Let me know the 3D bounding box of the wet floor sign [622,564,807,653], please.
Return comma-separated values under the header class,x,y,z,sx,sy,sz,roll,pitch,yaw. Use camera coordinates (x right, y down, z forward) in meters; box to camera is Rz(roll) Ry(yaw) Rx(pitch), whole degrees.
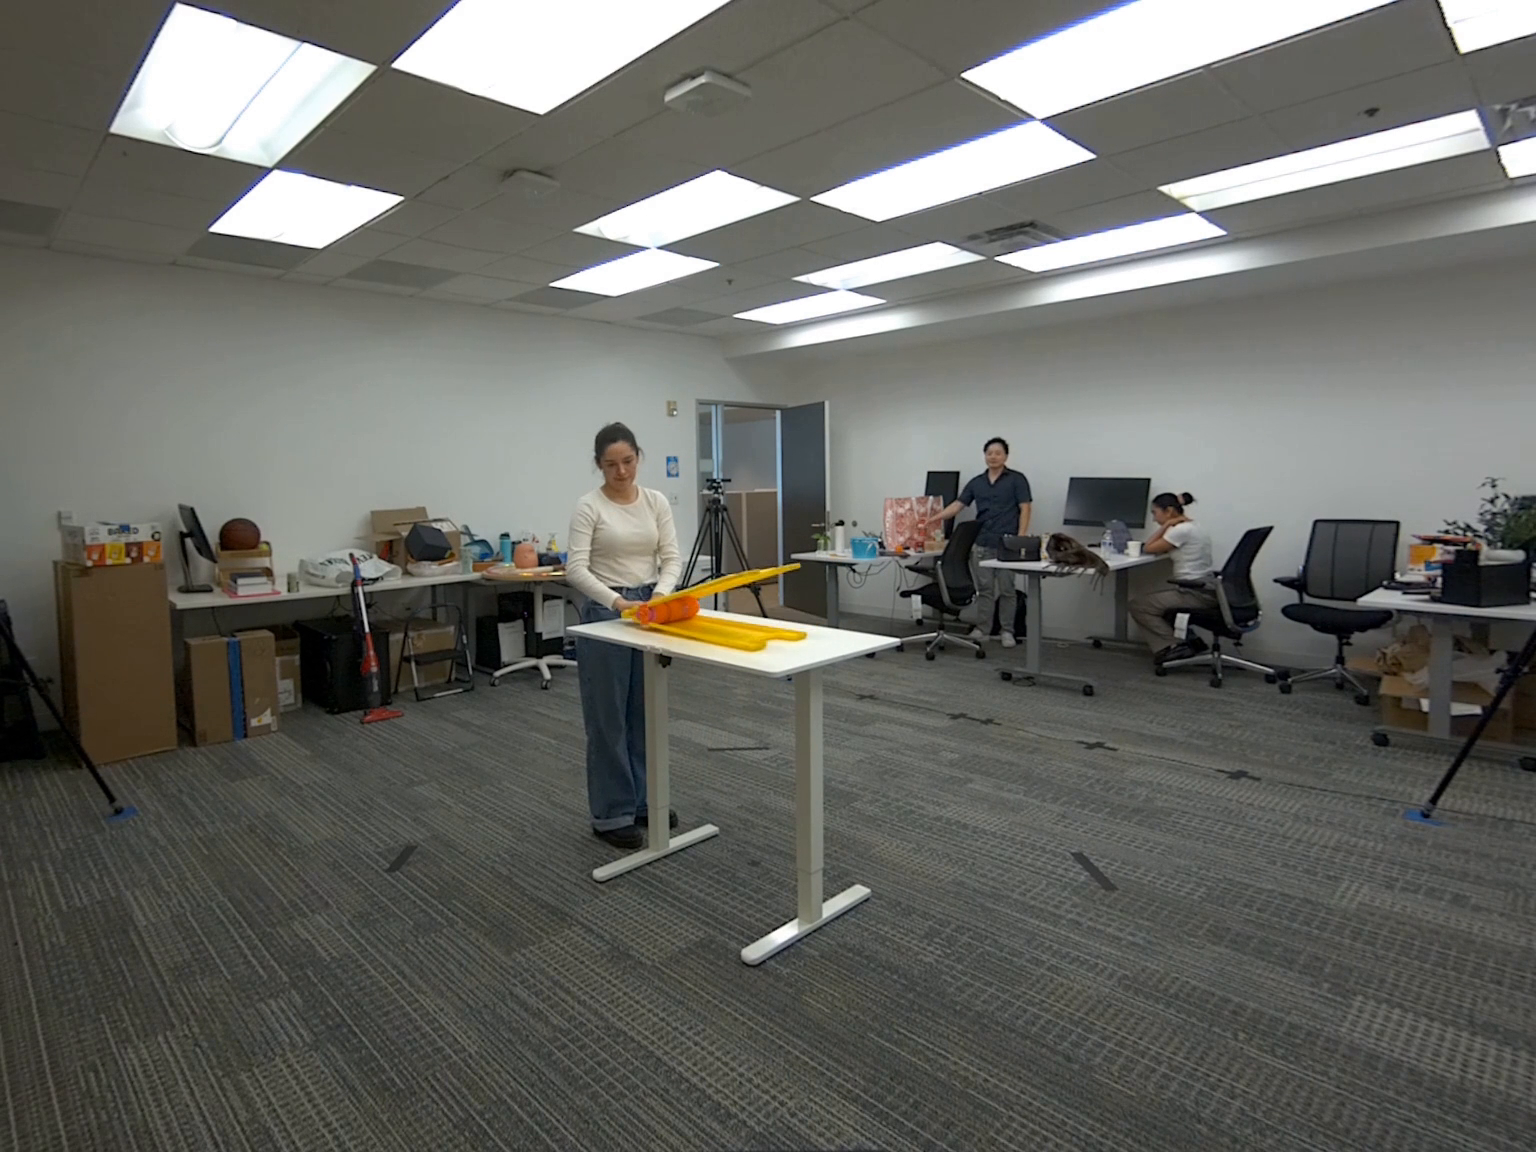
class,x,y,z,sx,sy,sz,roll,pitch,yaw
wet floor sign,-0.212,0.121,2.887,0.663,0.290,0.275,-4,1,41
